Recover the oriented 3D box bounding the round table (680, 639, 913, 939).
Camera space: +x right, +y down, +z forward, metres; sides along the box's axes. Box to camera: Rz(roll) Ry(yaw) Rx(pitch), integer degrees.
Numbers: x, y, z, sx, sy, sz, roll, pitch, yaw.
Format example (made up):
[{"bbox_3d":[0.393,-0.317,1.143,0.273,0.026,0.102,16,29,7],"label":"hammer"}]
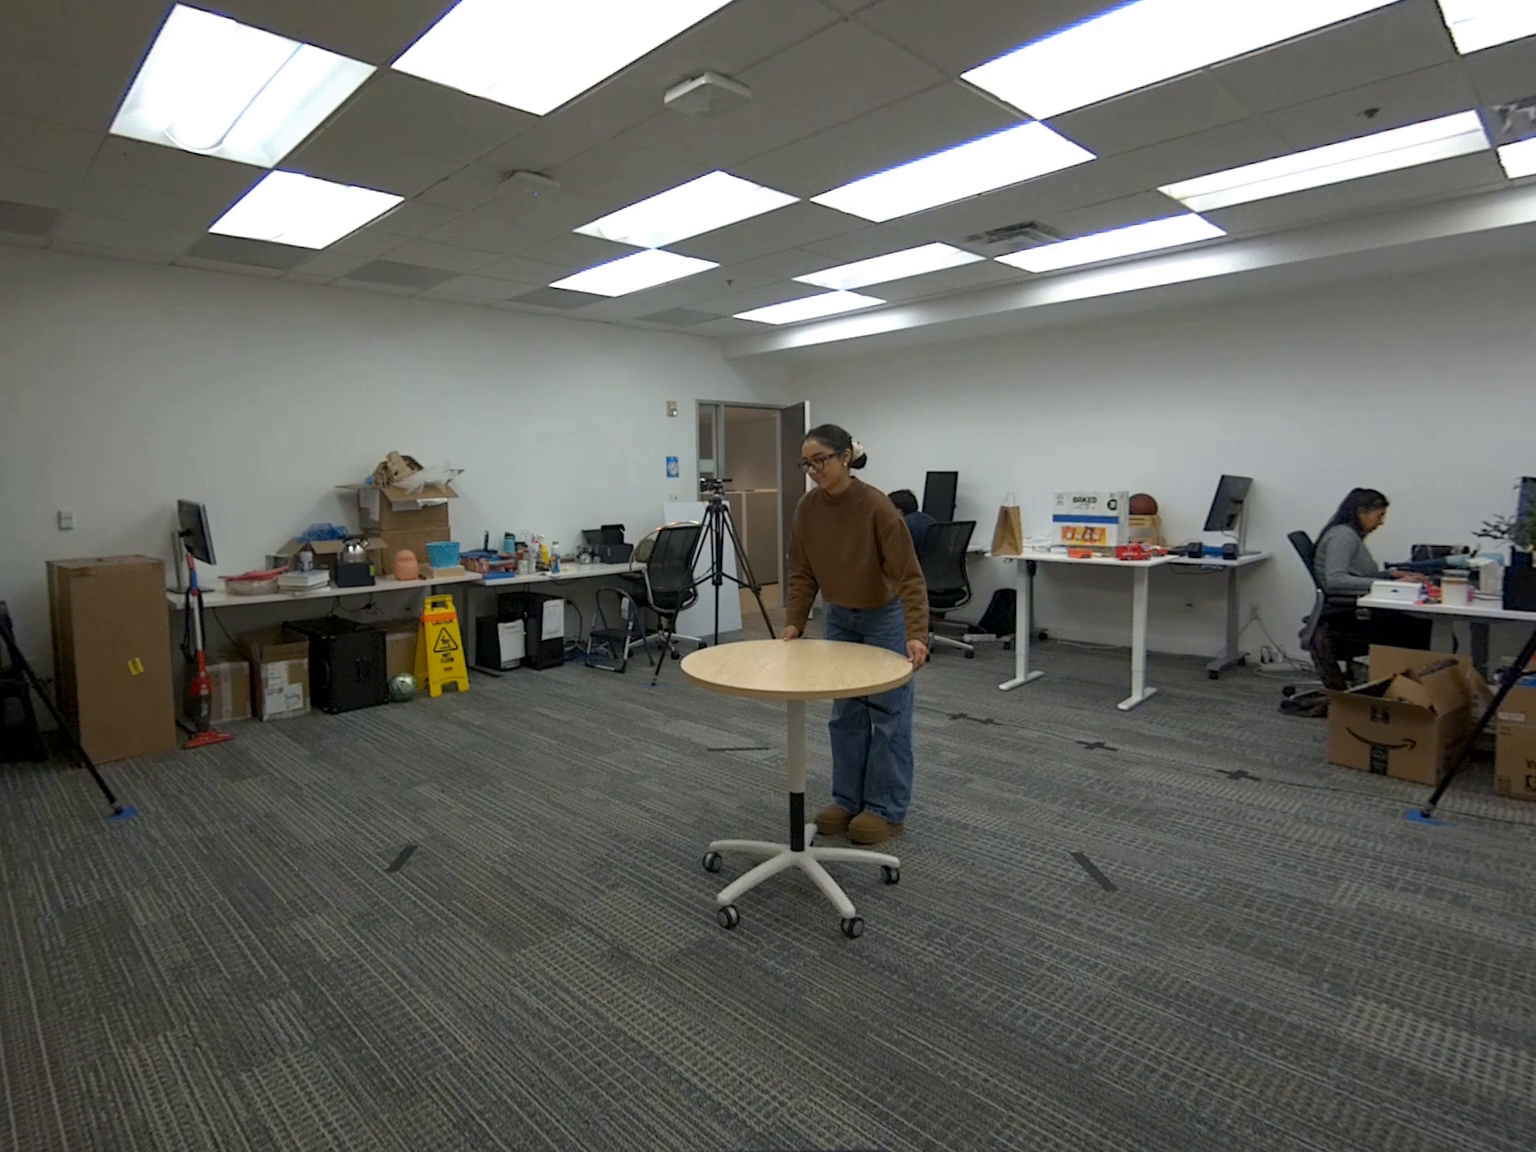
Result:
[{"bbox_3d":[0.093,0.677,2.879,0.763,0.791,0.768,-1,5,-2],"label":"round table"}]
